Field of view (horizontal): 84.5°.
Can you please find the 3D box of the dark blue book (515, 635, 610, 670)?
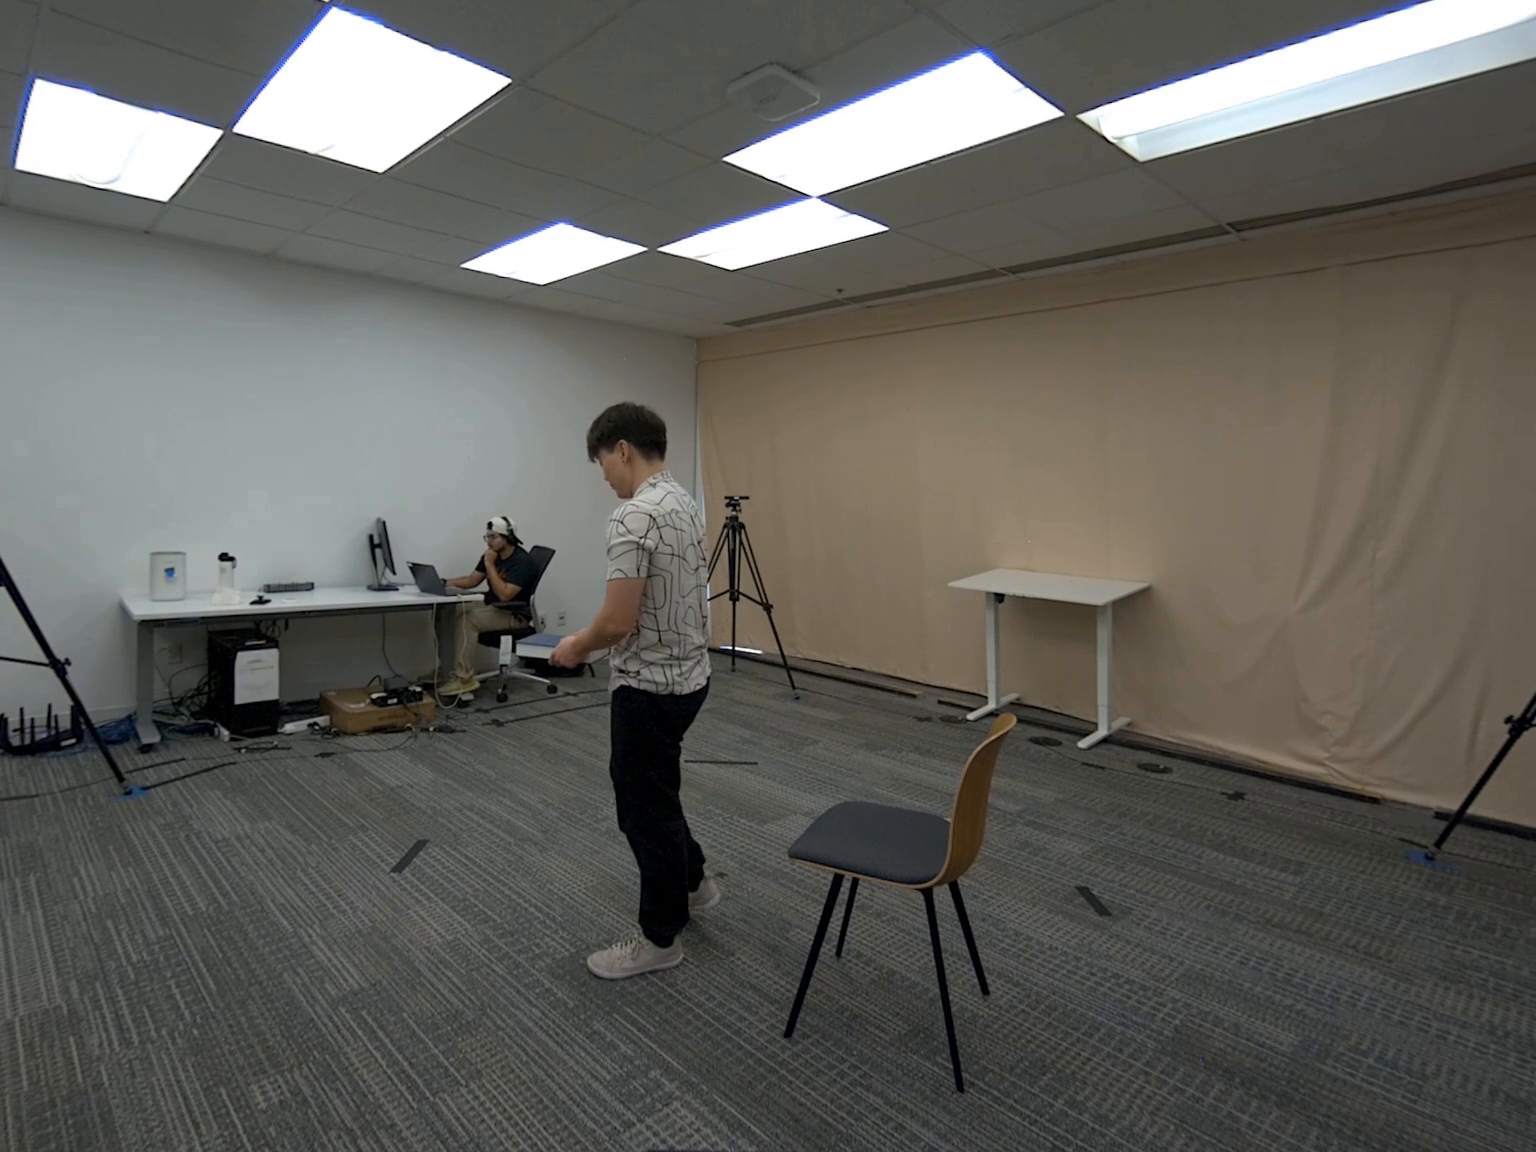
[{"bbox_3d":[-0.606,0.226,2.536,0.248,0.045,0.162,6,6,14],"label":"dark blue book"}]
